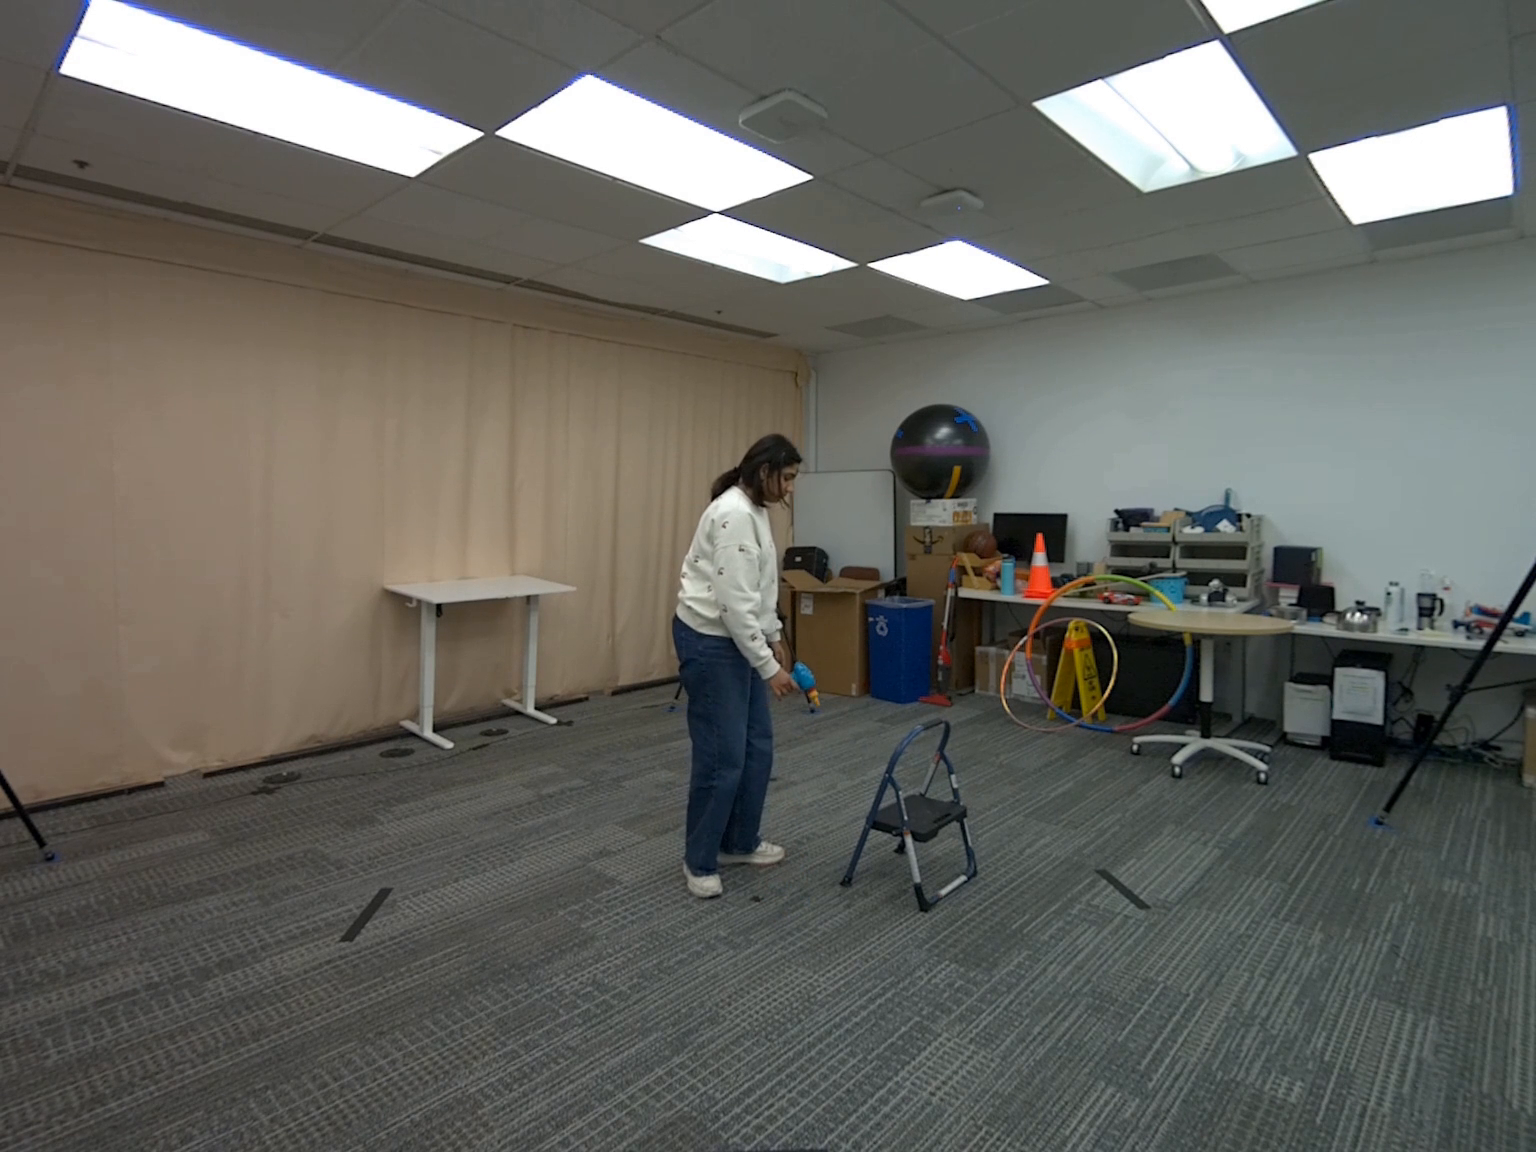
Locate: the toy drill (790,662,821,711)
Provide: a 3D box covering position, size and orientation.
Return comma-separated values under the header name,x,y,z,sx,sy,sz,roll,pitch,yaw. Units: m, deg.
name,x,y,z,sx,sy,sz,roll,pitch,yaw
toy drill,0.103,0.408,2.972,0.146,0.170,0.061,-23,0,-1
